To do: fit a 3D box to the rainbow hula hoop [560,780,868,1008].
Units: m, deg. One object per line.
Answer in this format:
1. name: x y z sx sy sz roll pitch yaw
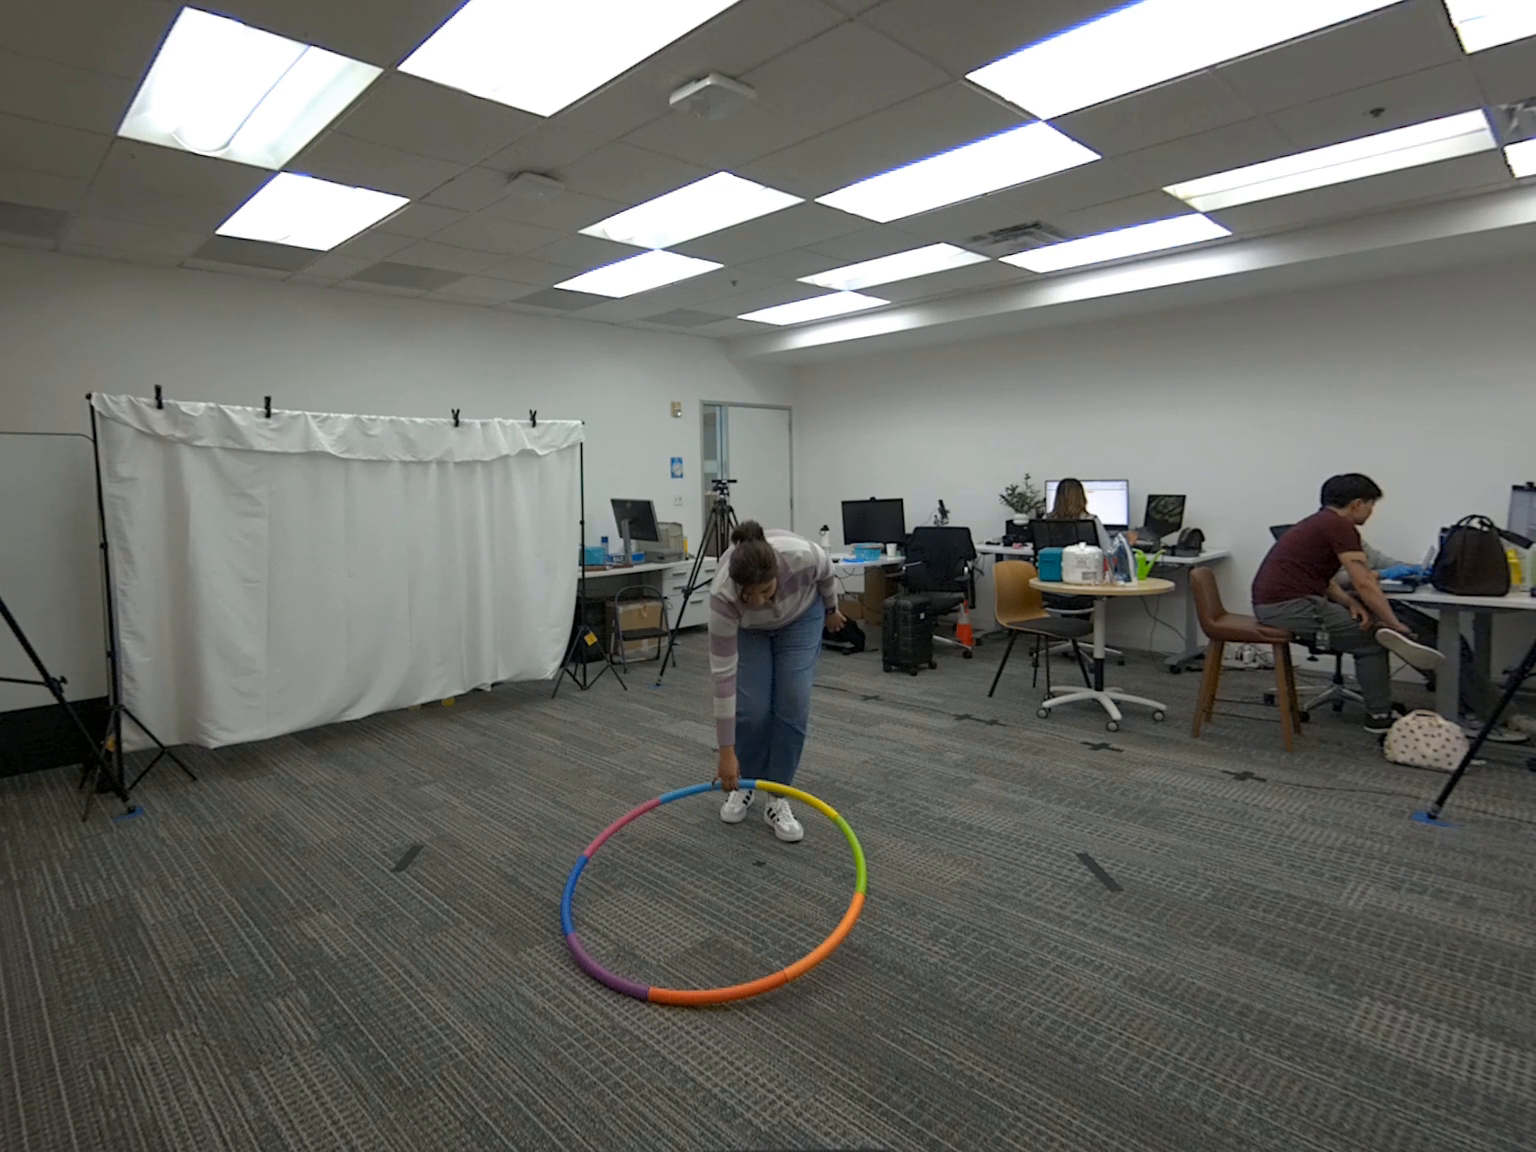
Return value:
1. rainbow hula hoop: -0.178 0.946 2.729 0.980 0.035 0.996 -8 20 1
